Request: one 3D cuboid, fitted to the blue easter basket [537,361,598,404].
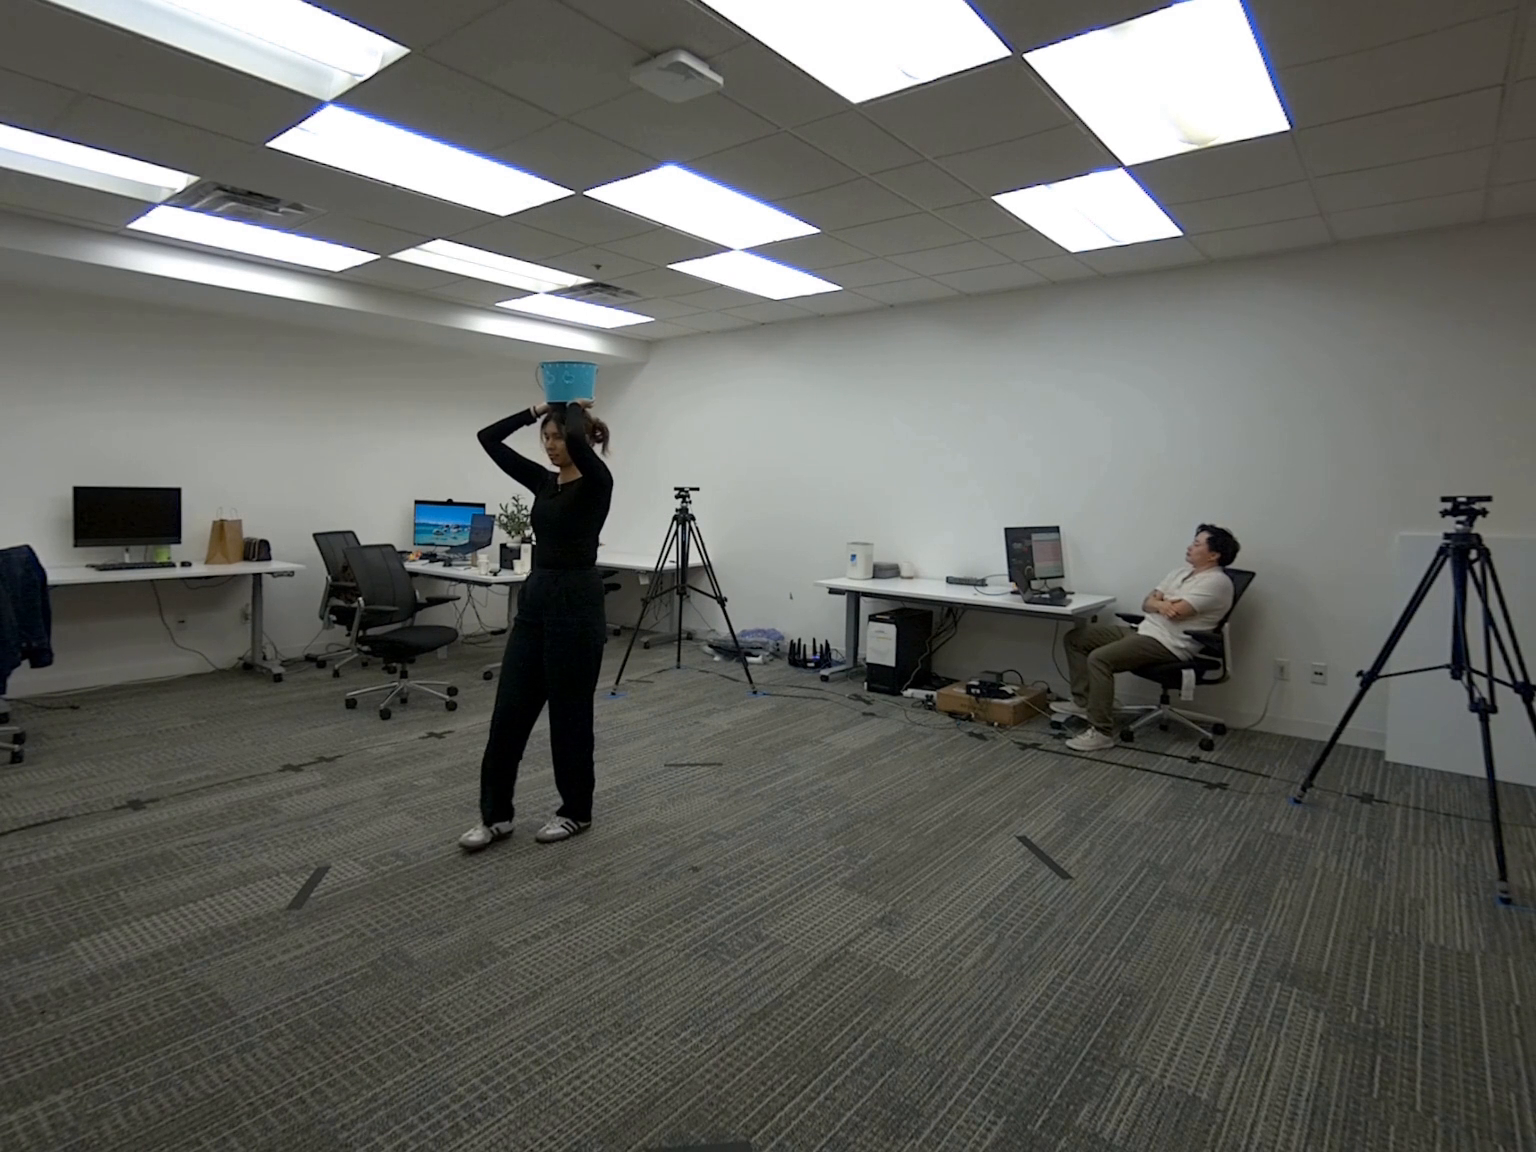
[{"bbox_3d":[-0.801,-0.760,3.336,0.243,0.155,0.245,0,8,-2],"label":"blue easter basket"}]
